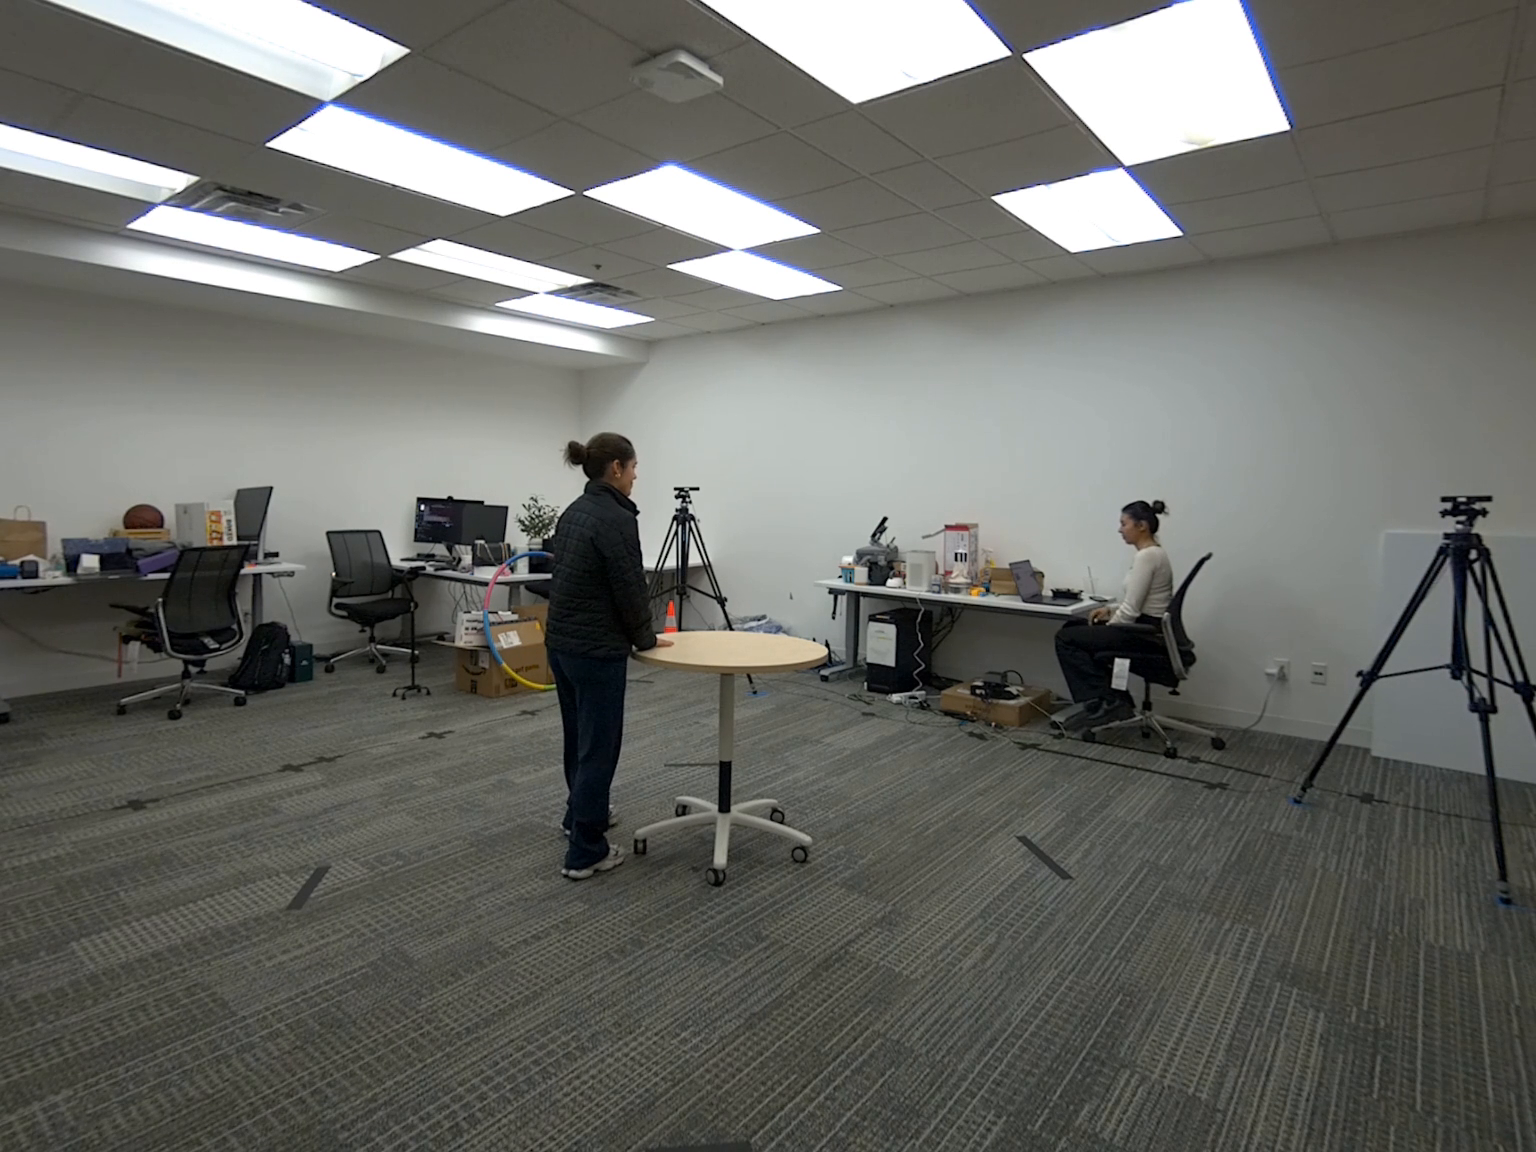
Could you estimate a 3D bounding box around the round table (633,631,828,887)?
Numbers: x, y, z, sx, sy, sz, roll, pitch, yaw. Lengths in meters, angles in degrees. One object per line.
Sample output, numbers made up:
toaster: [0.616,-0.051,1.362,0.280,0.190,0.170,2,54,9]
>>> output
round table: [-0.134,0.658,3.288,0.784,0.784,0.789,1,4,-2]
